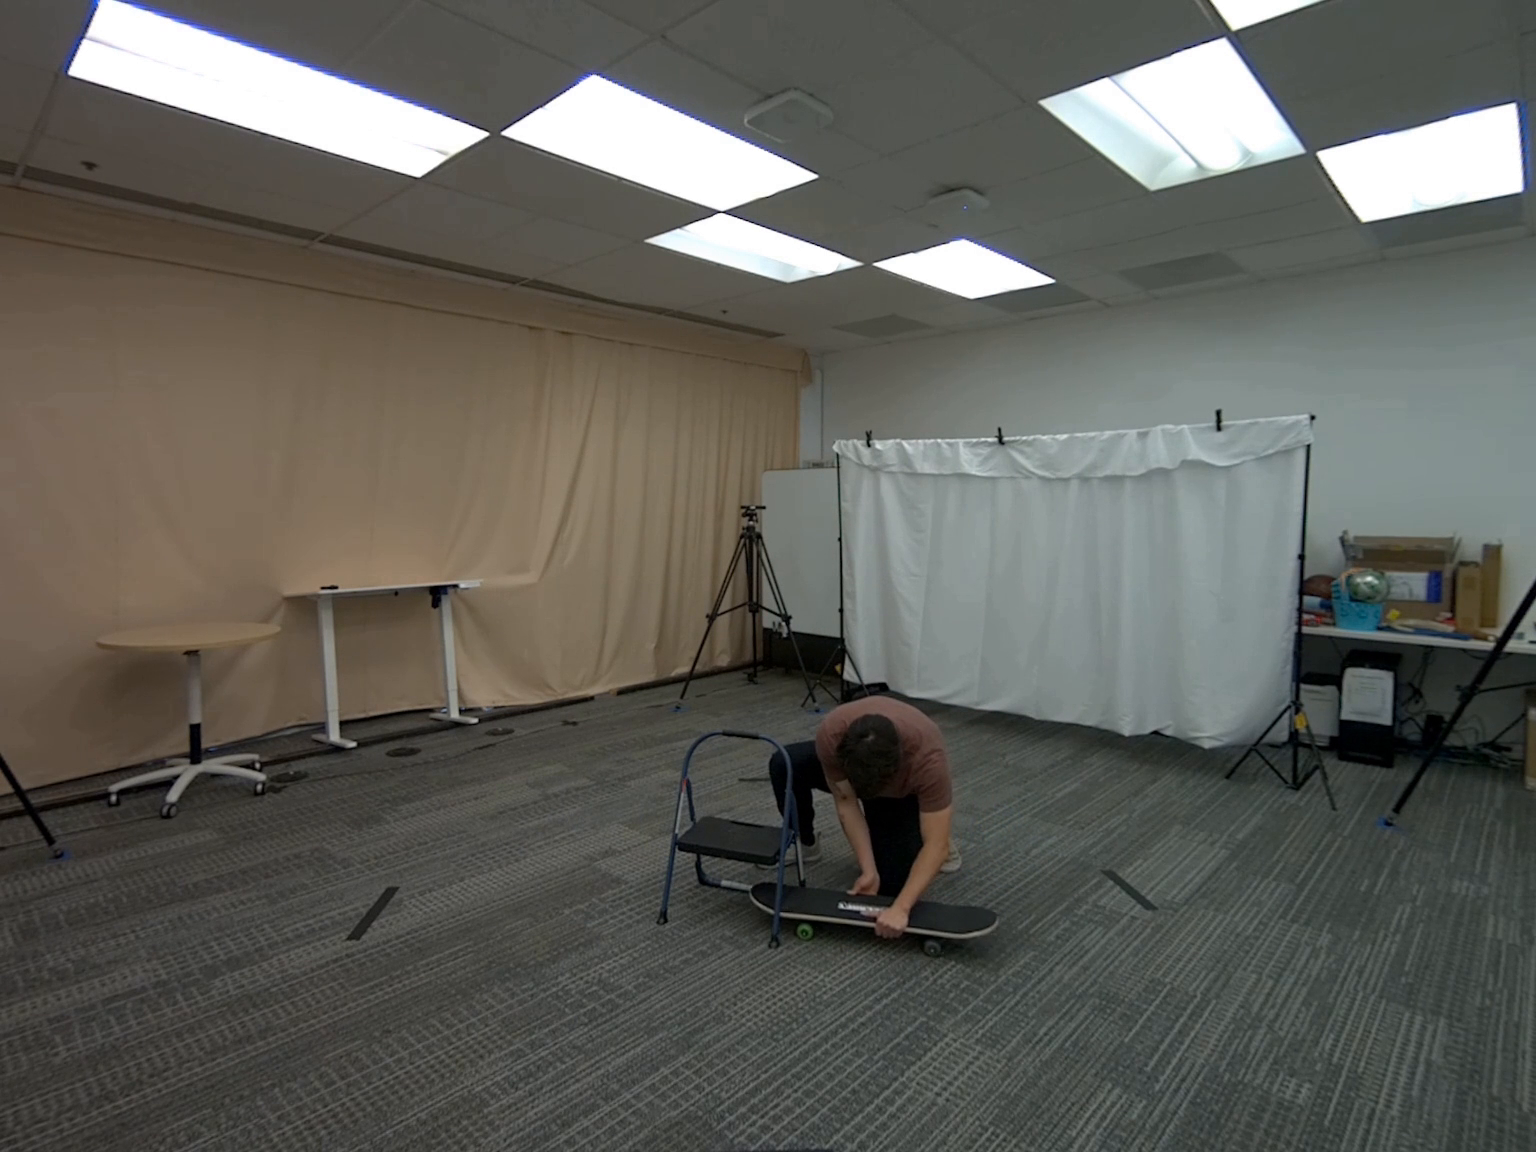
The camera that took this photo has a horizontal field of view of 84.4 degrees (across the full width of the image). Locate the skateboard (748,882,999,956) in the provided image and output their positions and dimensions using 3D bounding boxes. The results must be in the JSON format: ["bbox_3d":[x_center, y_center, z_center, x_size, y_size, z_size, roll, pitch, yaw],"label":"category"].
[{"bbox_3d":[0.326,1.095,2.726,0.799,0.110,0.191,1,5,16],"label":"skateboard"}]
